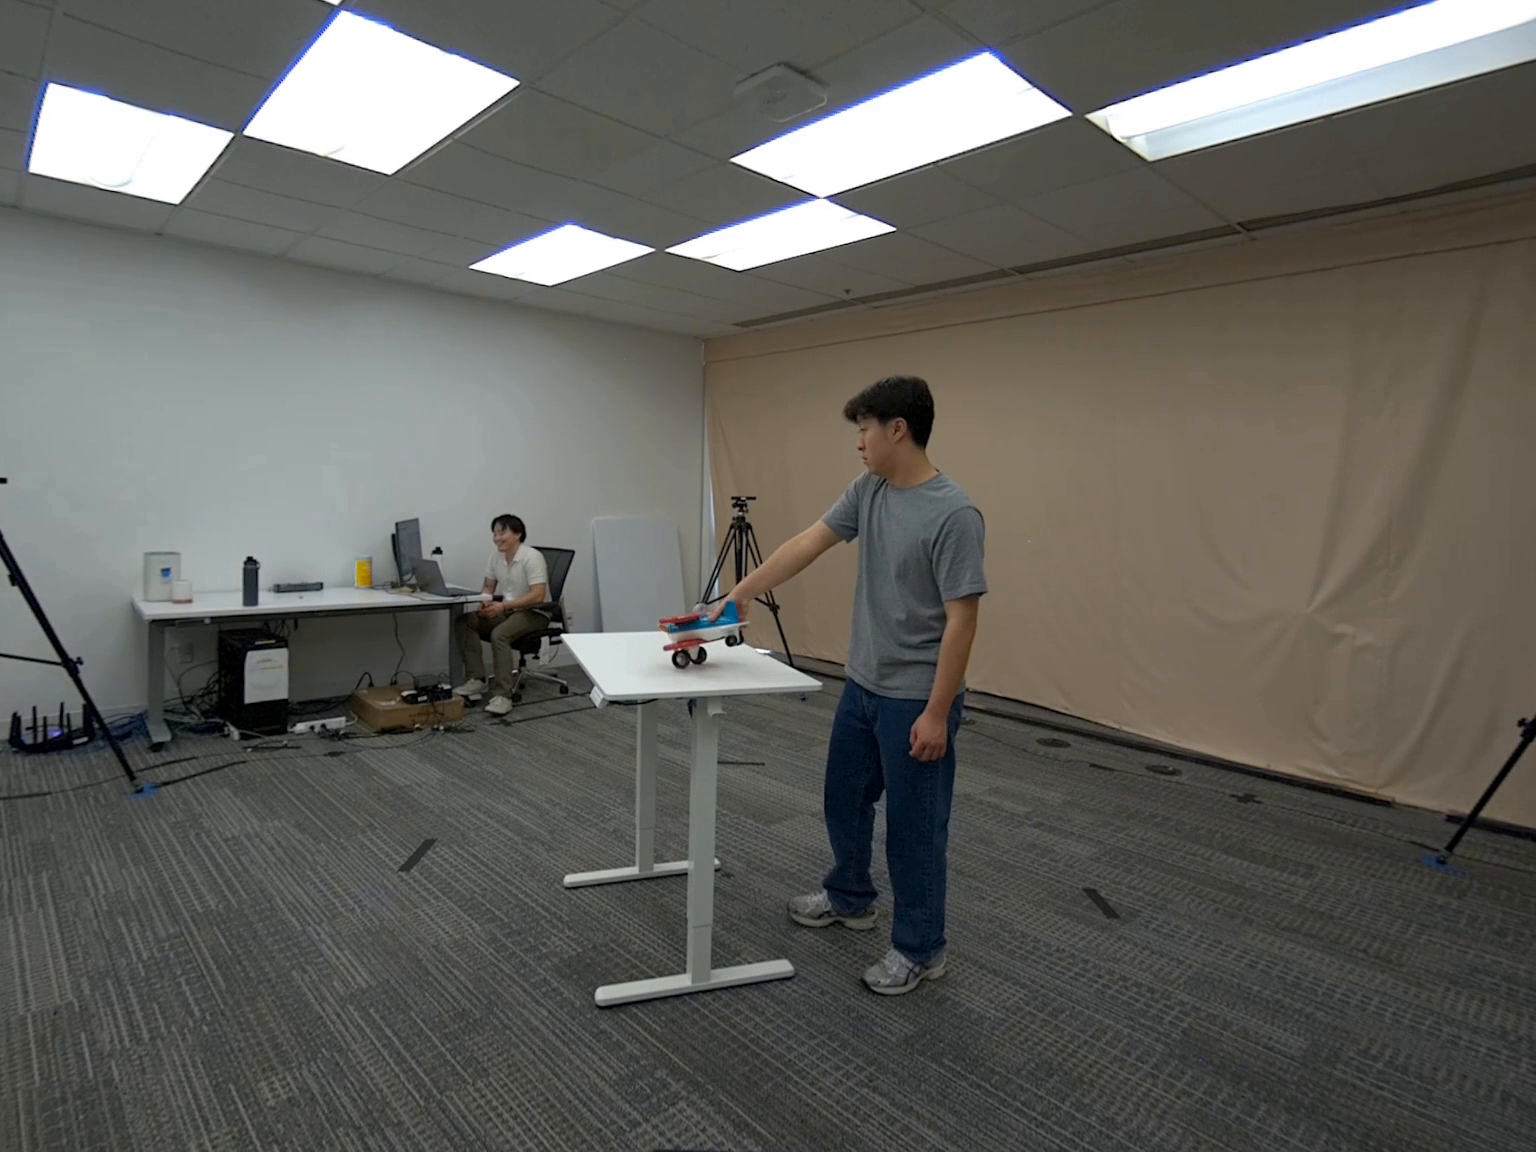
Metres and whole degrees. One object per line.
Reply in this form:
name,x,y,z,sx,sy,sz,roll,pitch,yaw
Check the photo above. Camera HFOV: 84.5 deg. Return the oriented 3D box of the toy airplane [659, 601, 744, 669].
toy airplane,-0.181,0.167,2.521,0.259,0.158,0.248,-21,-9,2
